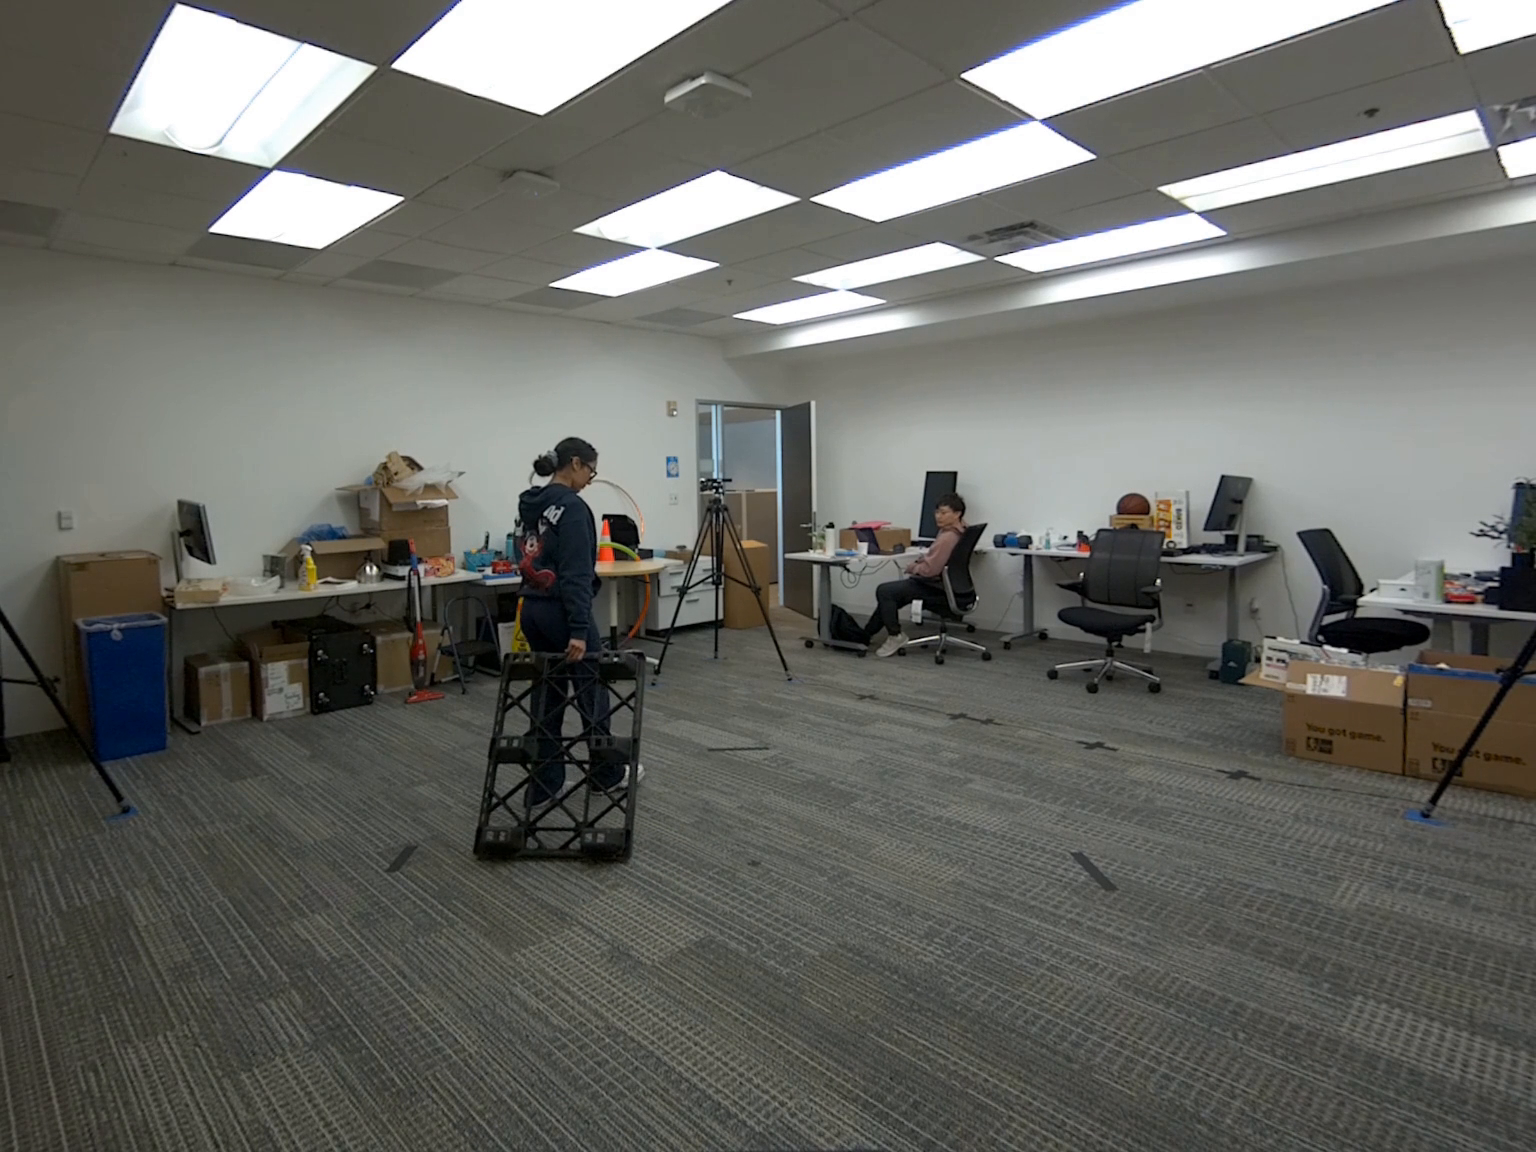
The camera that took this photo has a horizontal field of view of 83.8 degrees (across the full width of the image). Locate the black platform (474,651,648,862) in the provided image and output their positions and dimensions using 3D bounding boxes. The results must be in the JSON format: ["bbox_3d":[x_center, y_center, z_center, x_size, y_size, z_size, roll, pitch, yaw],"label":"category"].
[{"bbox_3d":[-0.793,0.667,3.308,0.609,0.823,0.139,-2,-28,6],"label":"black platform"}]
